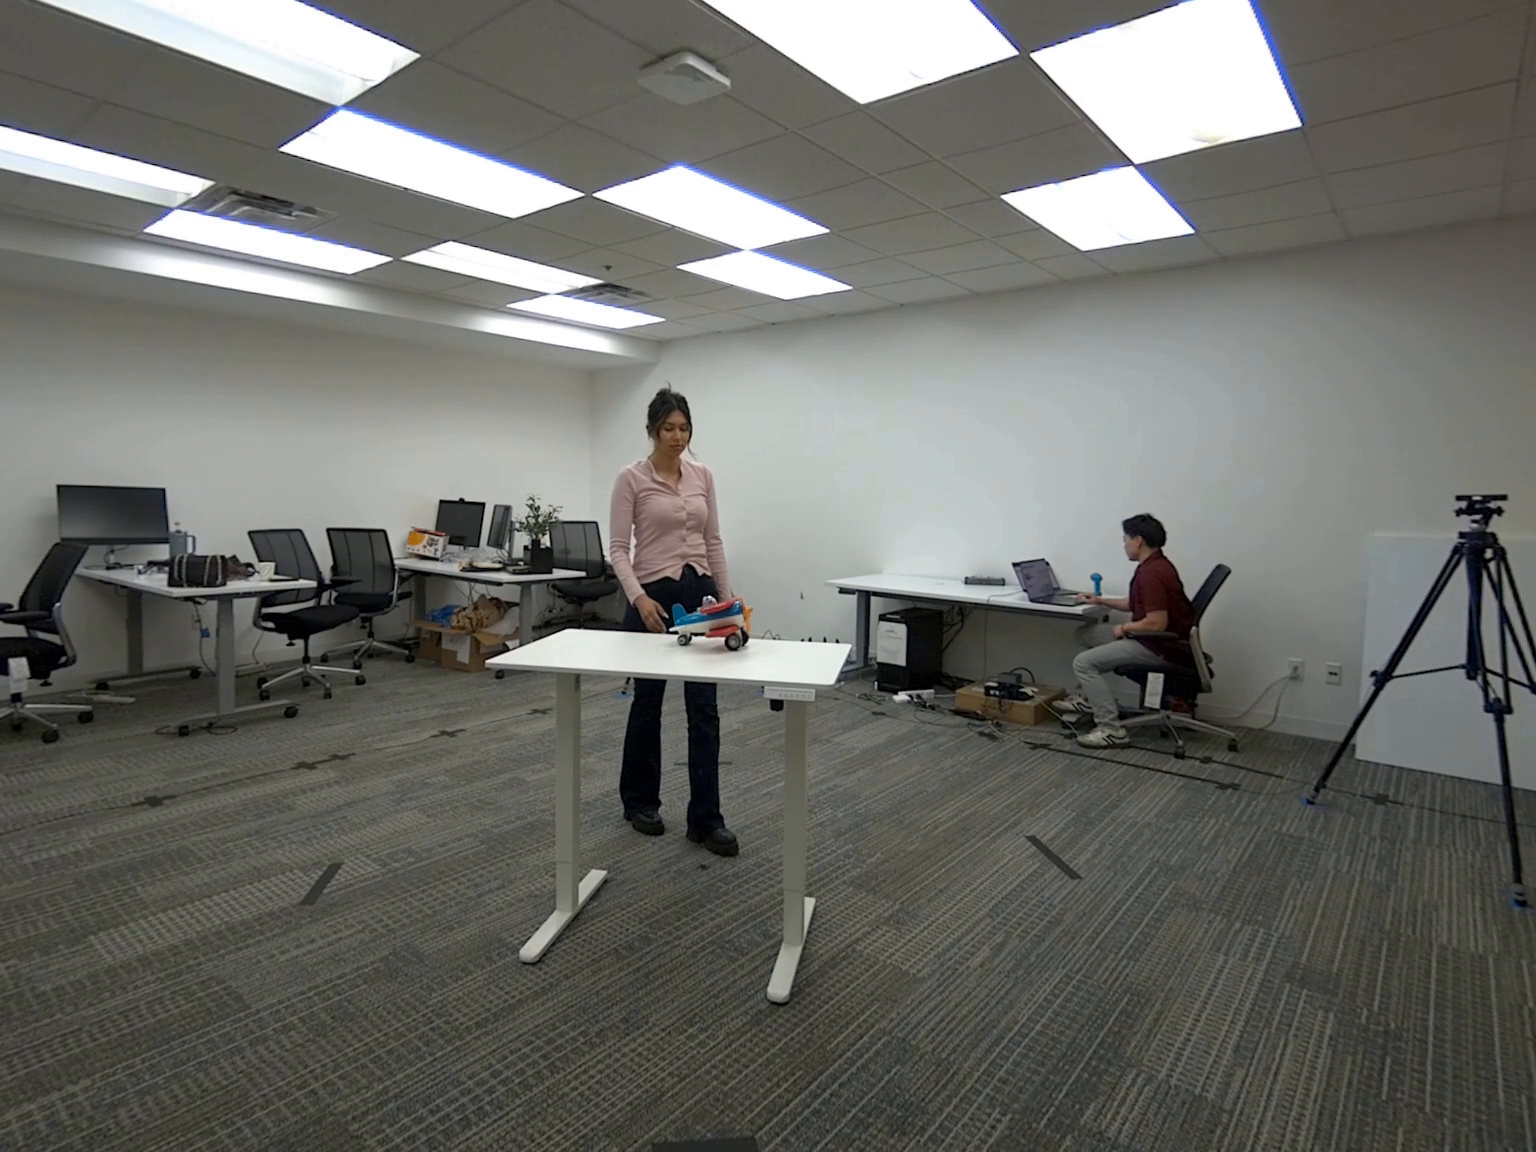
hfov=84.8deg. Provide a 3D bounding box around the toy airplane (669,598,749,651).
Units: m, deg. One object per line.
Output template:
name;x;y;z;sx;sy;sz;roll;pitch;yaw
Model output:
toy airplane;-0.189;0.149;2.704;0.255;0.156;0.255;0;5;-14
